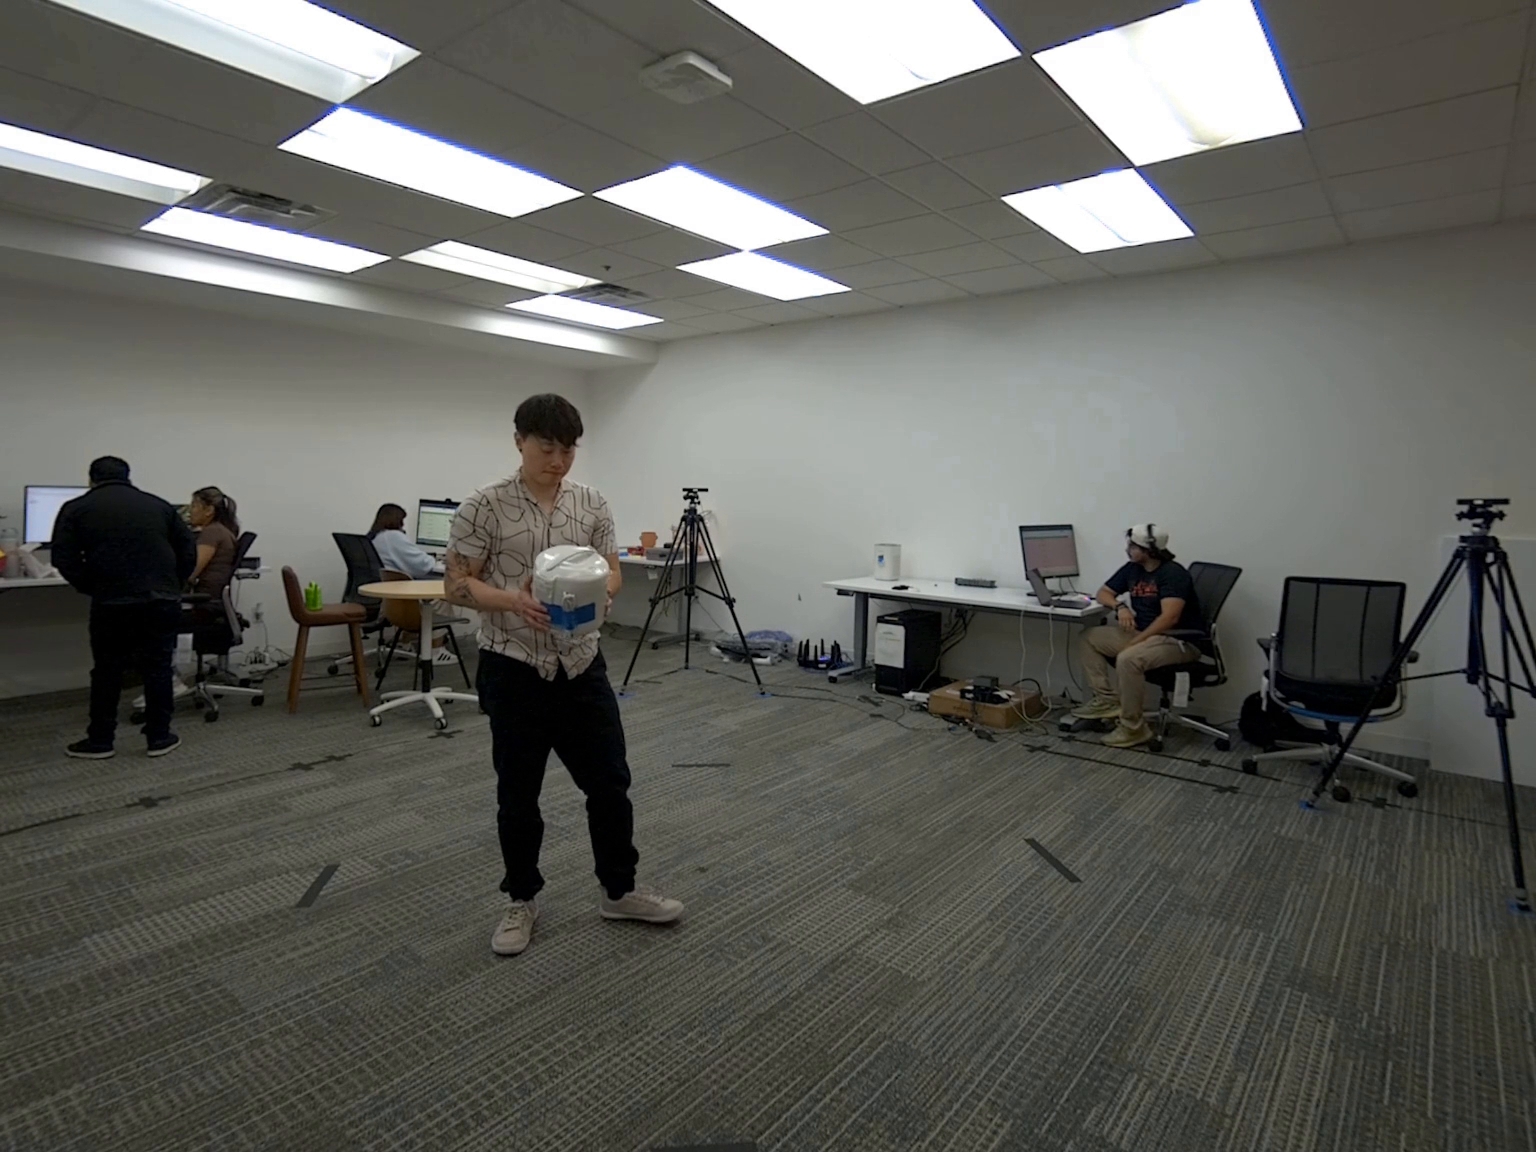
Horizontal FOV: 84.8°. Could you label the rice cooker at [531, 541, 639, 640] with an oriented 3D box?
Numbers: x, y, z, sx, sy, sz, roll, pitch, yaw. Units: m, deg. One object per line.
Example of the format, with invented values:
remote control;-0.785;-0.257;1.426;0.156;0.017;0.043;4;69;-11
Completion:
rice cooker;-0.534;0.025;2.381;0.225;0.229;0.217;24;28;28
